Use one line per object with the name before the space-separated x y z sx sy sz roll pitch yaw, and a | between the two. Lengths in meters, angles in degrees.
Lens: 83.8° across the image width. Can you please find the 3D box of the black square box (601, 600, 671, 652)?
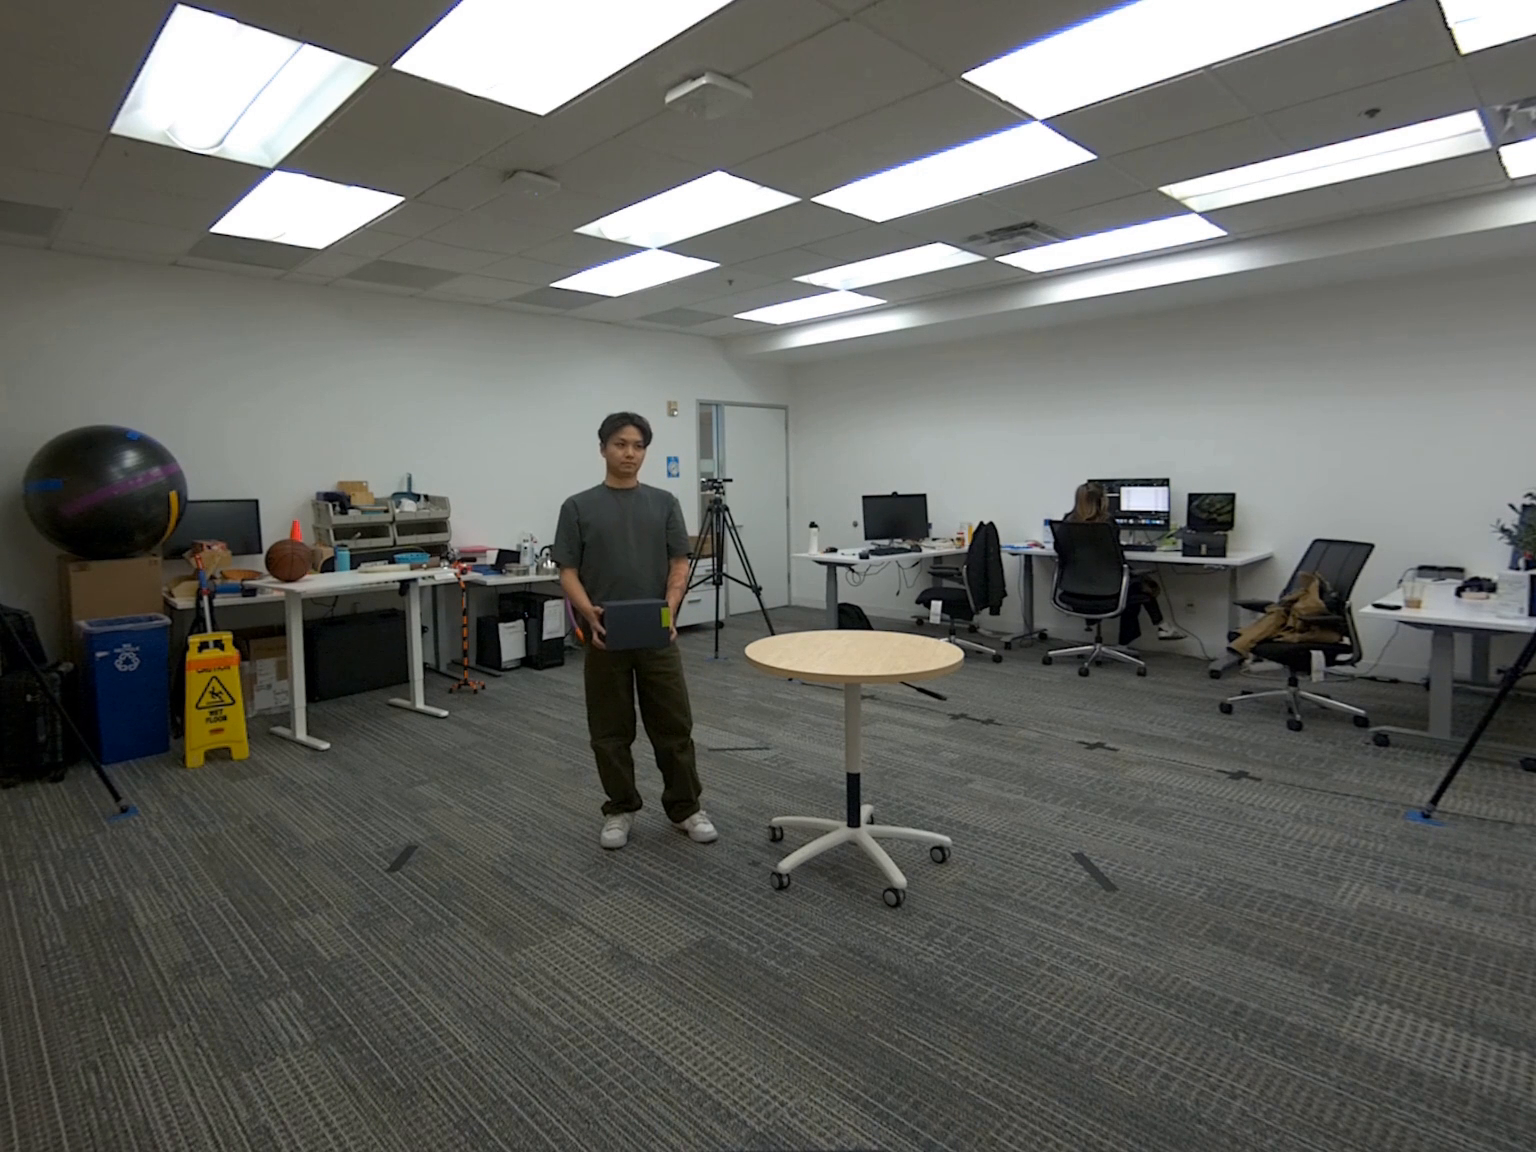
black square box | -0.472 0.168 3.036 0.214 0.156 0.231 -3 2 -13
